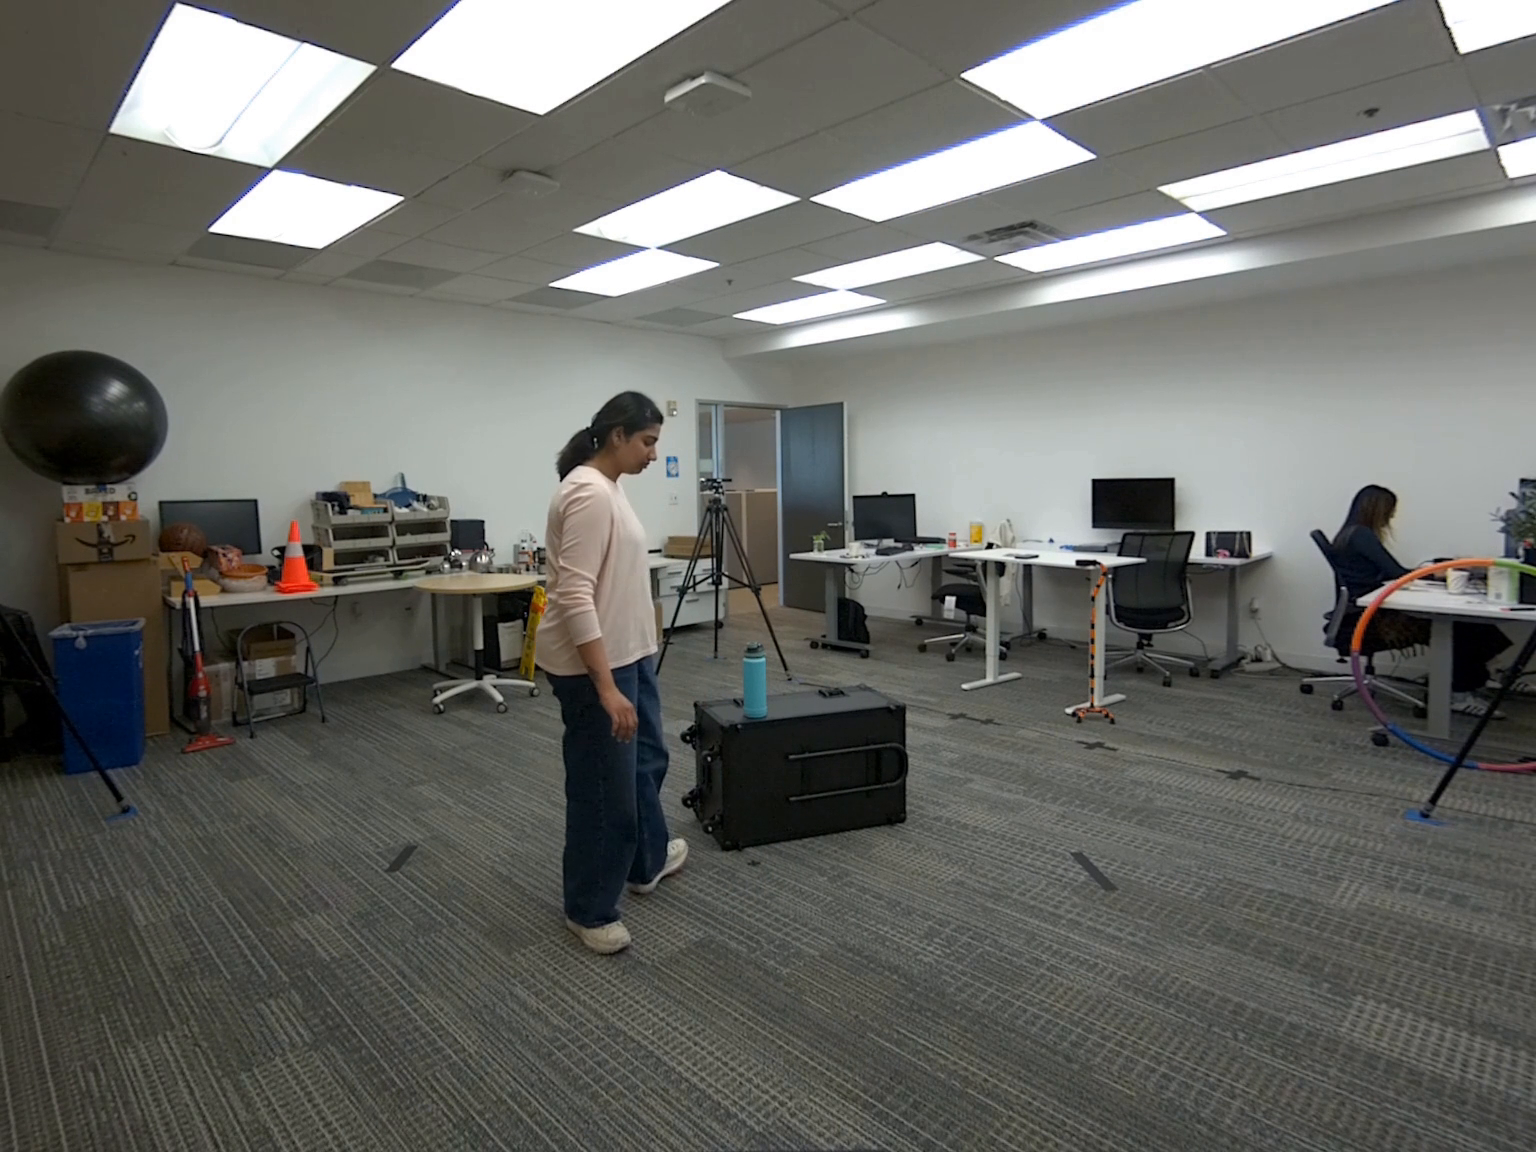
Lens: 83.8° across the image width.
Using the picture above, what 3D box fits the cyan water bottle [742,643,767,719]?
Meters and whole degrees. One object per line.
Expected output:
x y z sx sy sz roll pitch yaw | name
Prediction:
-0.046 0.394 3.315 0.092 0.283 0.092 -1 1 -2 | cyan water bottle
